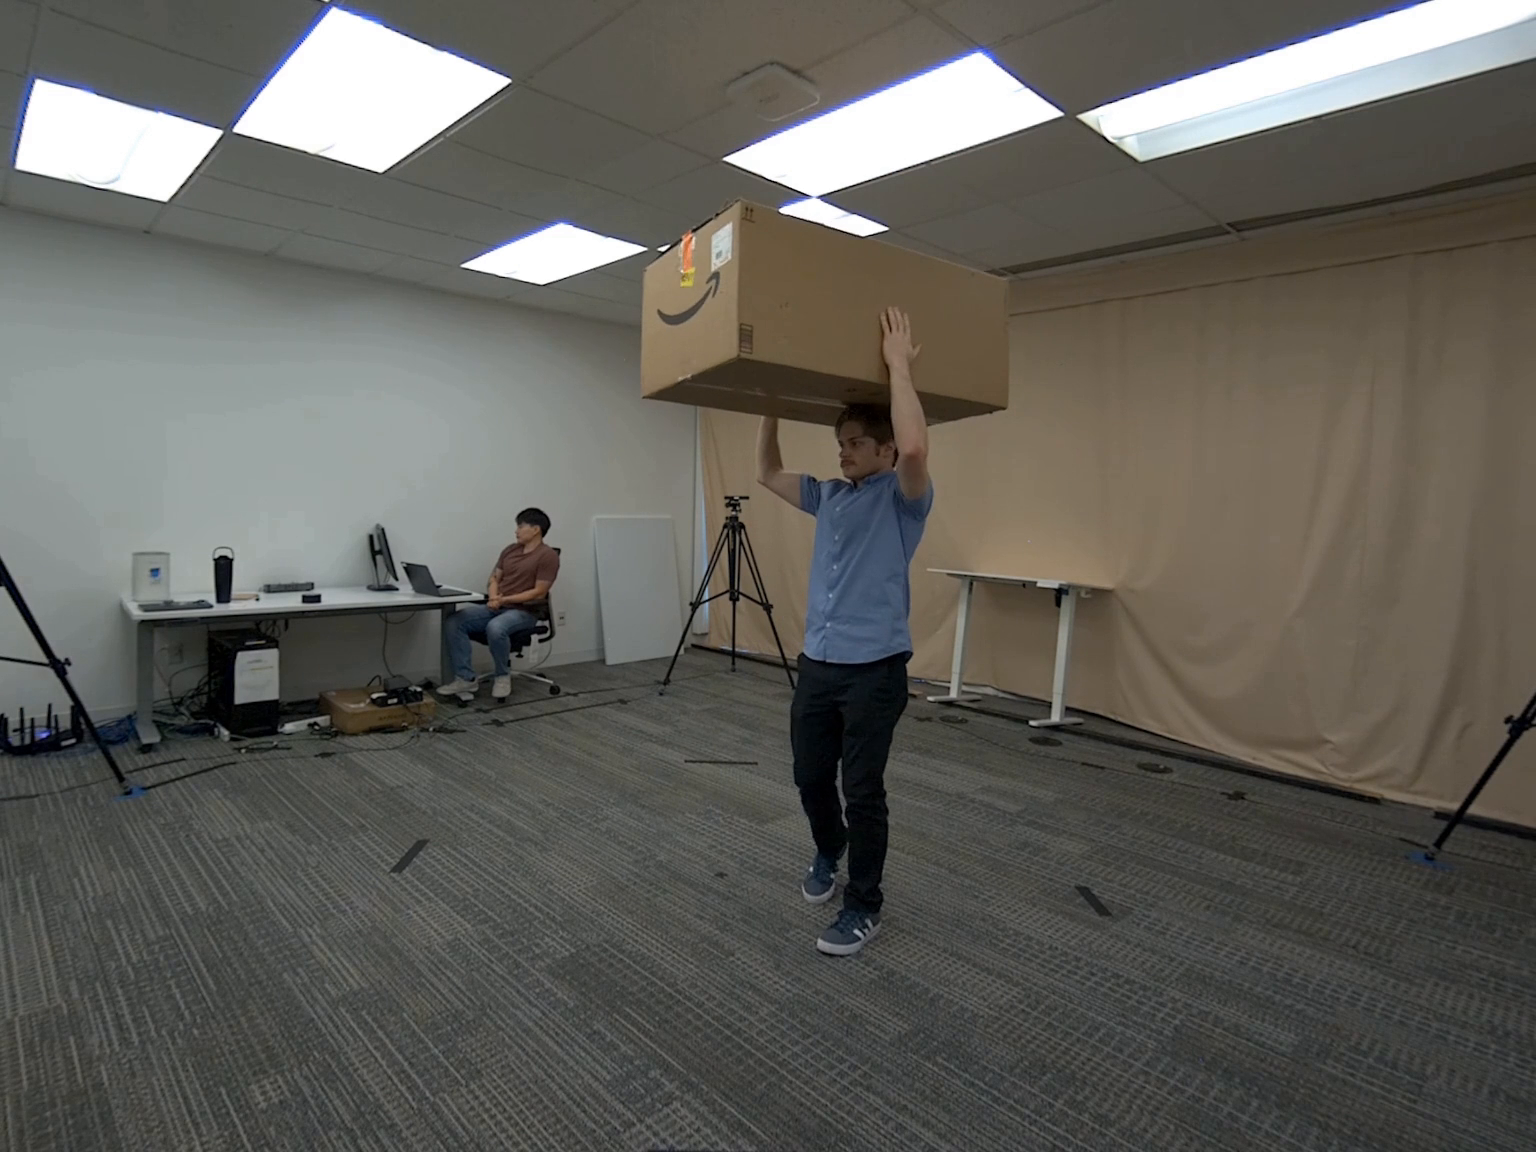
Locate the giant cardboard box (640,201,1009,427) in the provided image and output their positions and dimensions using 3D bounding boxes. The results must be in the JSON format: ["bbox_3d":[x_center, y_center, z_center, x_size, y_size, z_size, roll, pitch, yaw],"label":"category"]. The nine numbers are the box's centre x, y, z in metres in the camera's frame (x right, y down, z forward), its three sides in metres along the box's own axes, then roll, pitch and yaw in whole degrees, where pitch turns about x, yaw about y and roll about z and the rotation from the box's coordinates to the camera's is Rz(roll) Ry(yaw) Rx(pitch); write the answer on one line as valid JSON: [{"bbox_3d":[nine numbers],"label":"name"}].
[{"bbox_3d":[0.181,-0.755,2.666,1.003,0.427,0.589,2,-2,-32],"label":"giant cardboard box"}]
